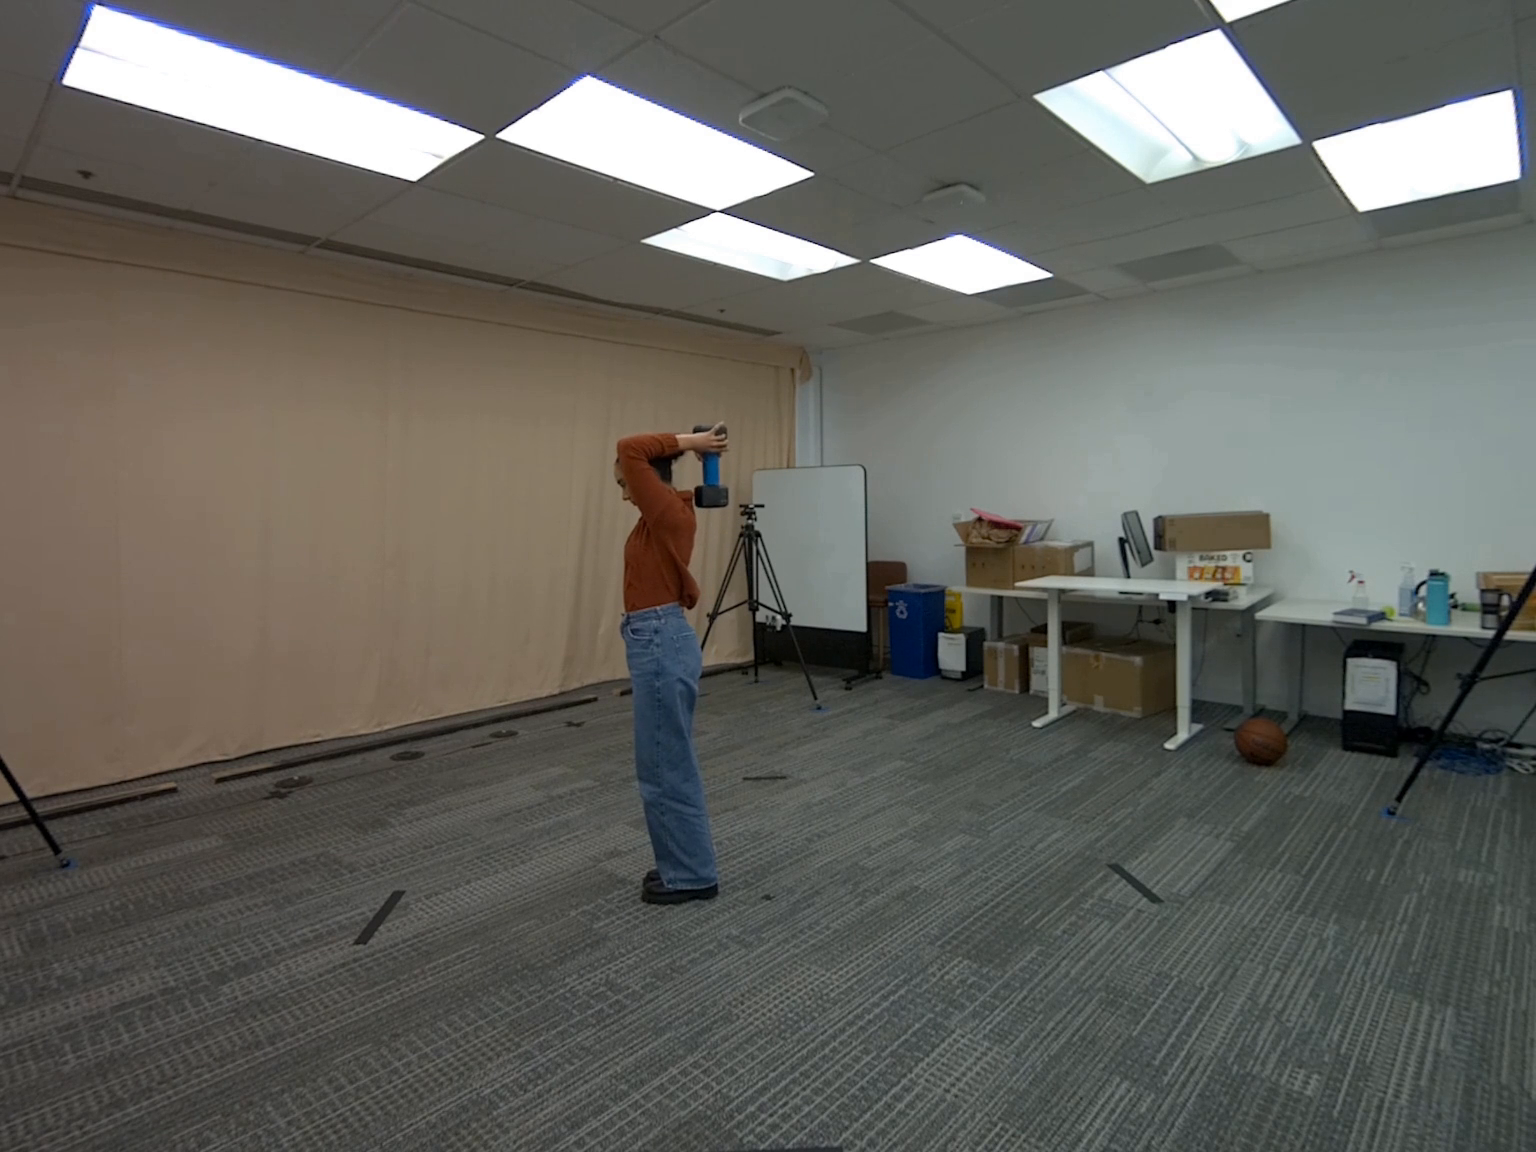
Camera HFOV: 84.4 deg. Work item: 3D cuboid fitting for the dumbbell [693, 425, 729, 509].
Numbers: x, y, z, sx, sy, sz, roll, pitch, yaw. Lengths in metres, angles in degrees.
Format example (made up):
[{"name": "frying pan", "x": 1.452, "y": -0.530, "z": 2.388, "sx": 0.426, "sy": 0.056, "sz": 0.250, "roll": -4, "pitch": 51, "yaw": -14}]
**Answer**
[{"name": "dumbbell", "x": -0.208, "y": -0.390, "z": 2.998, "sx": 0.122, "sy": 0.292, "sz": 0.109, "roll": -4, "pitch": 5, "yaw": -4}]
